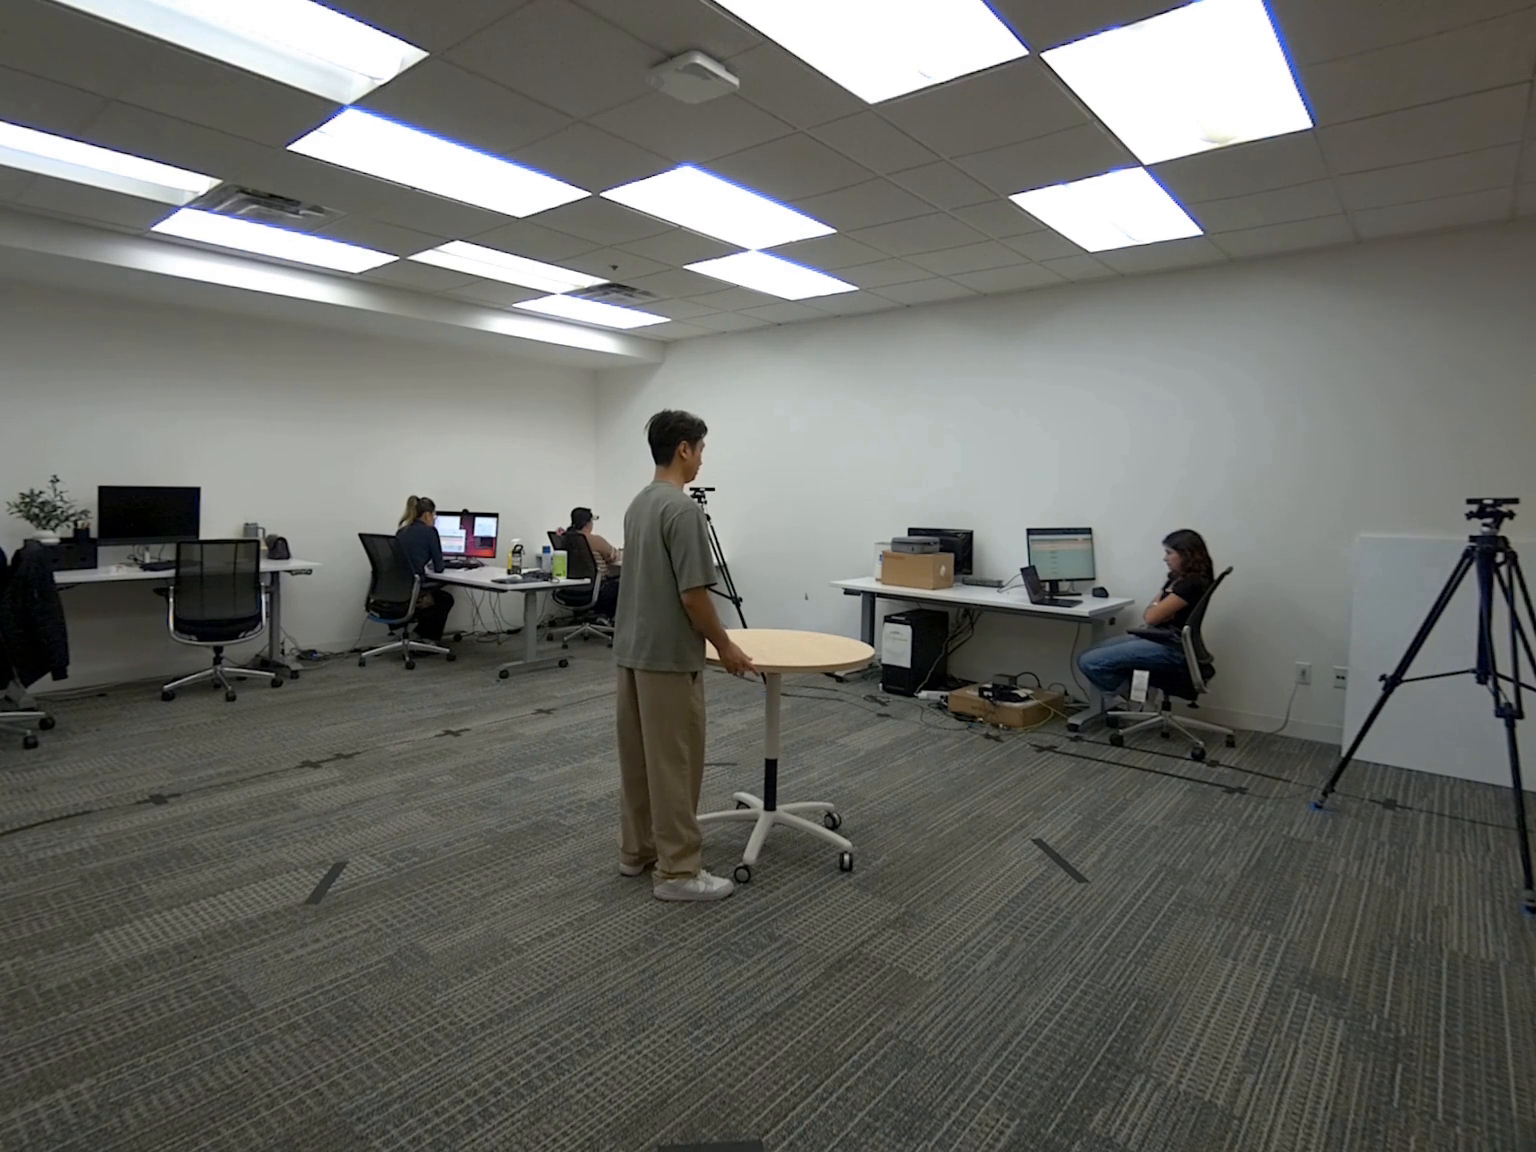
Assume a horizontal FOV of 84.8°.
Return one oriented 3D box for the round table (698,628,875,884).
[{"bbox_3d":[-0.004,0.654,3.316,0.784,0.784,0.789,1,4,-2],"label":"round table"}]
